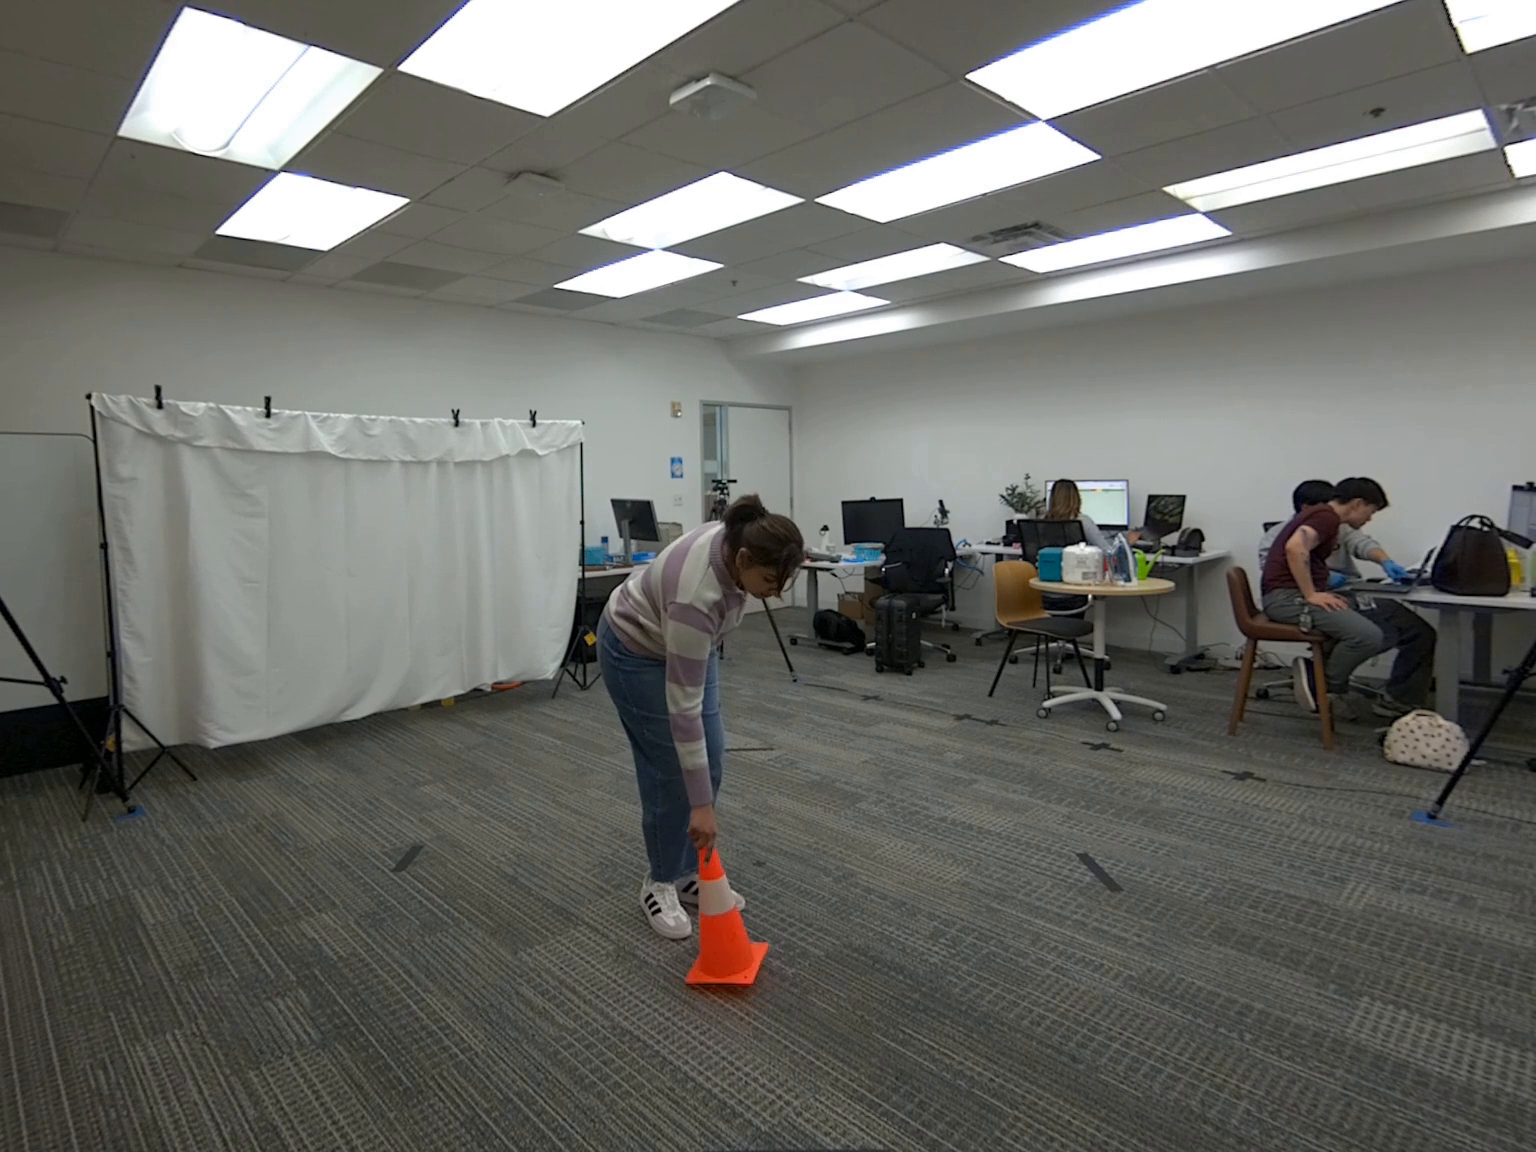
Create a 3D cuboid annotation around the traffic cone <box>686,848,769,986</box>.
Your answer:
[{"bbox_3d":[-0.139,0.904,2.408,0.208,0.383,0.201,-10,1,16],"label":"traffic cone"}]
